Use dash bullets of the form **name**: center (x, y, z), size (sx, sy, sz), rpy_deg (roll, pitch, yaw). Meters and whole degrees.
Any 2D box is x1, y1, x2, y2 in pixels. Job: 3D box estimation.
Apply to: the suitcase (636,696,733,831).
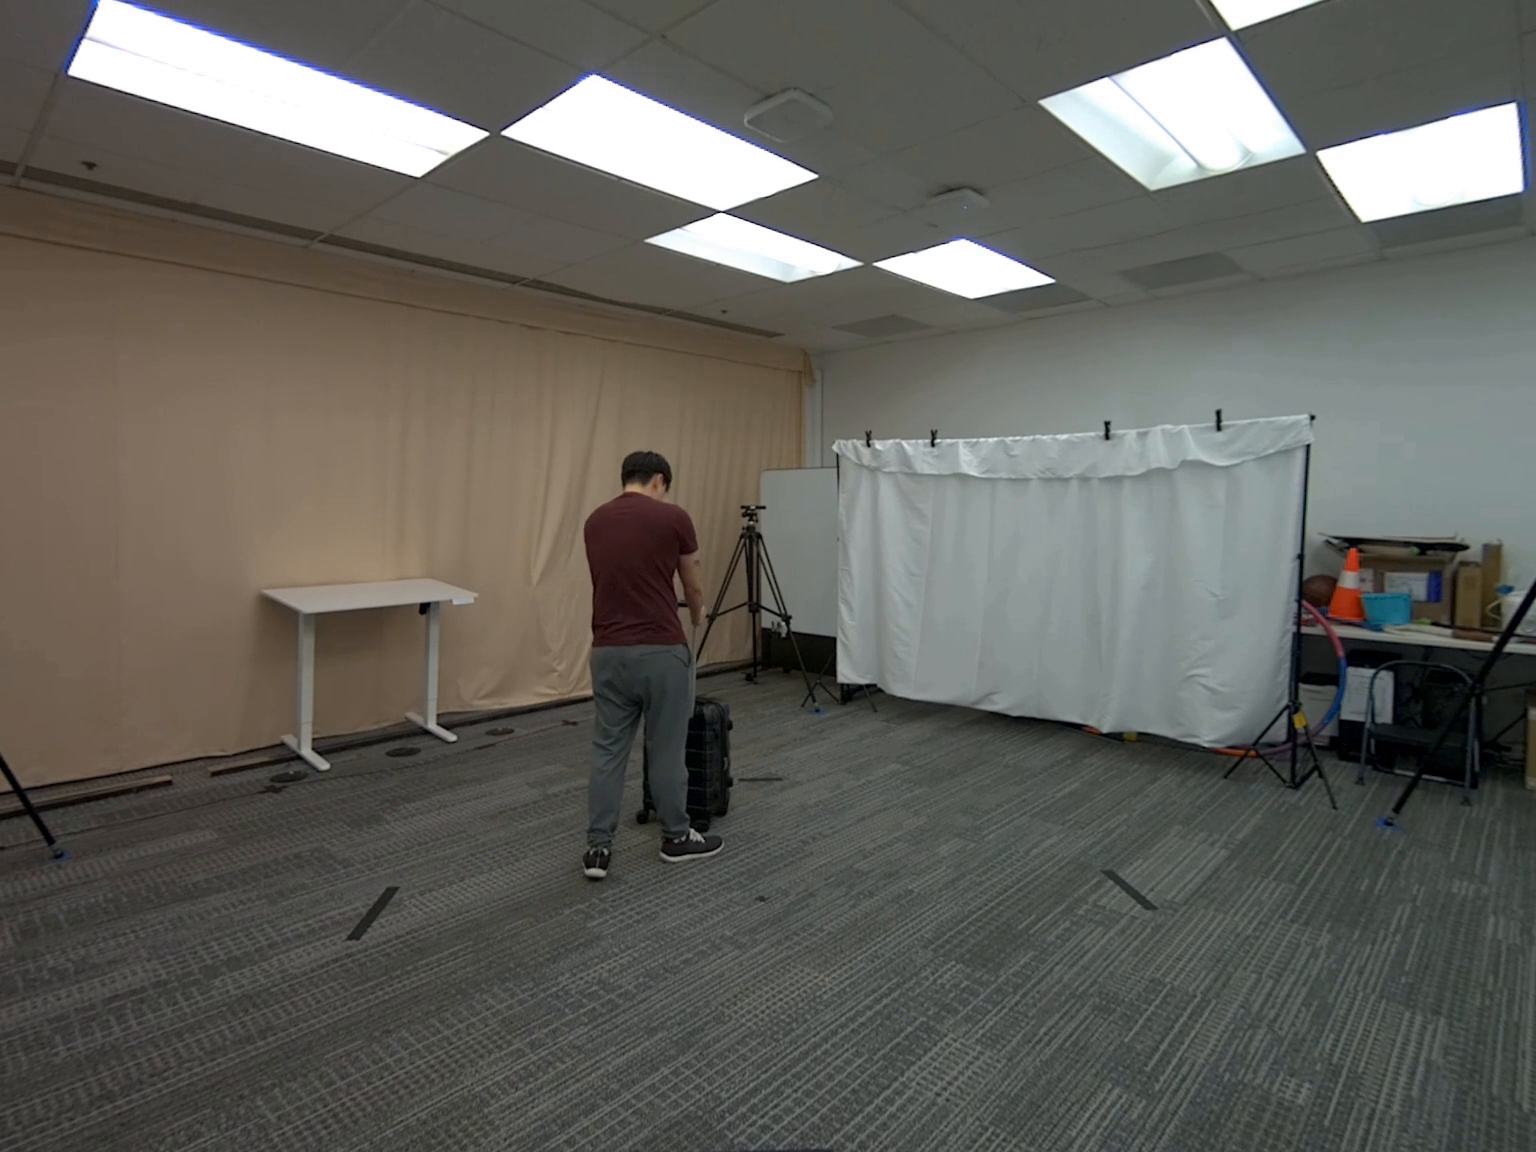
- **suitcase**: center (-0.354, 0.603, 3.758), size (0.393, 0.978, 0.251), rpy_deg (2, 0, 21)
